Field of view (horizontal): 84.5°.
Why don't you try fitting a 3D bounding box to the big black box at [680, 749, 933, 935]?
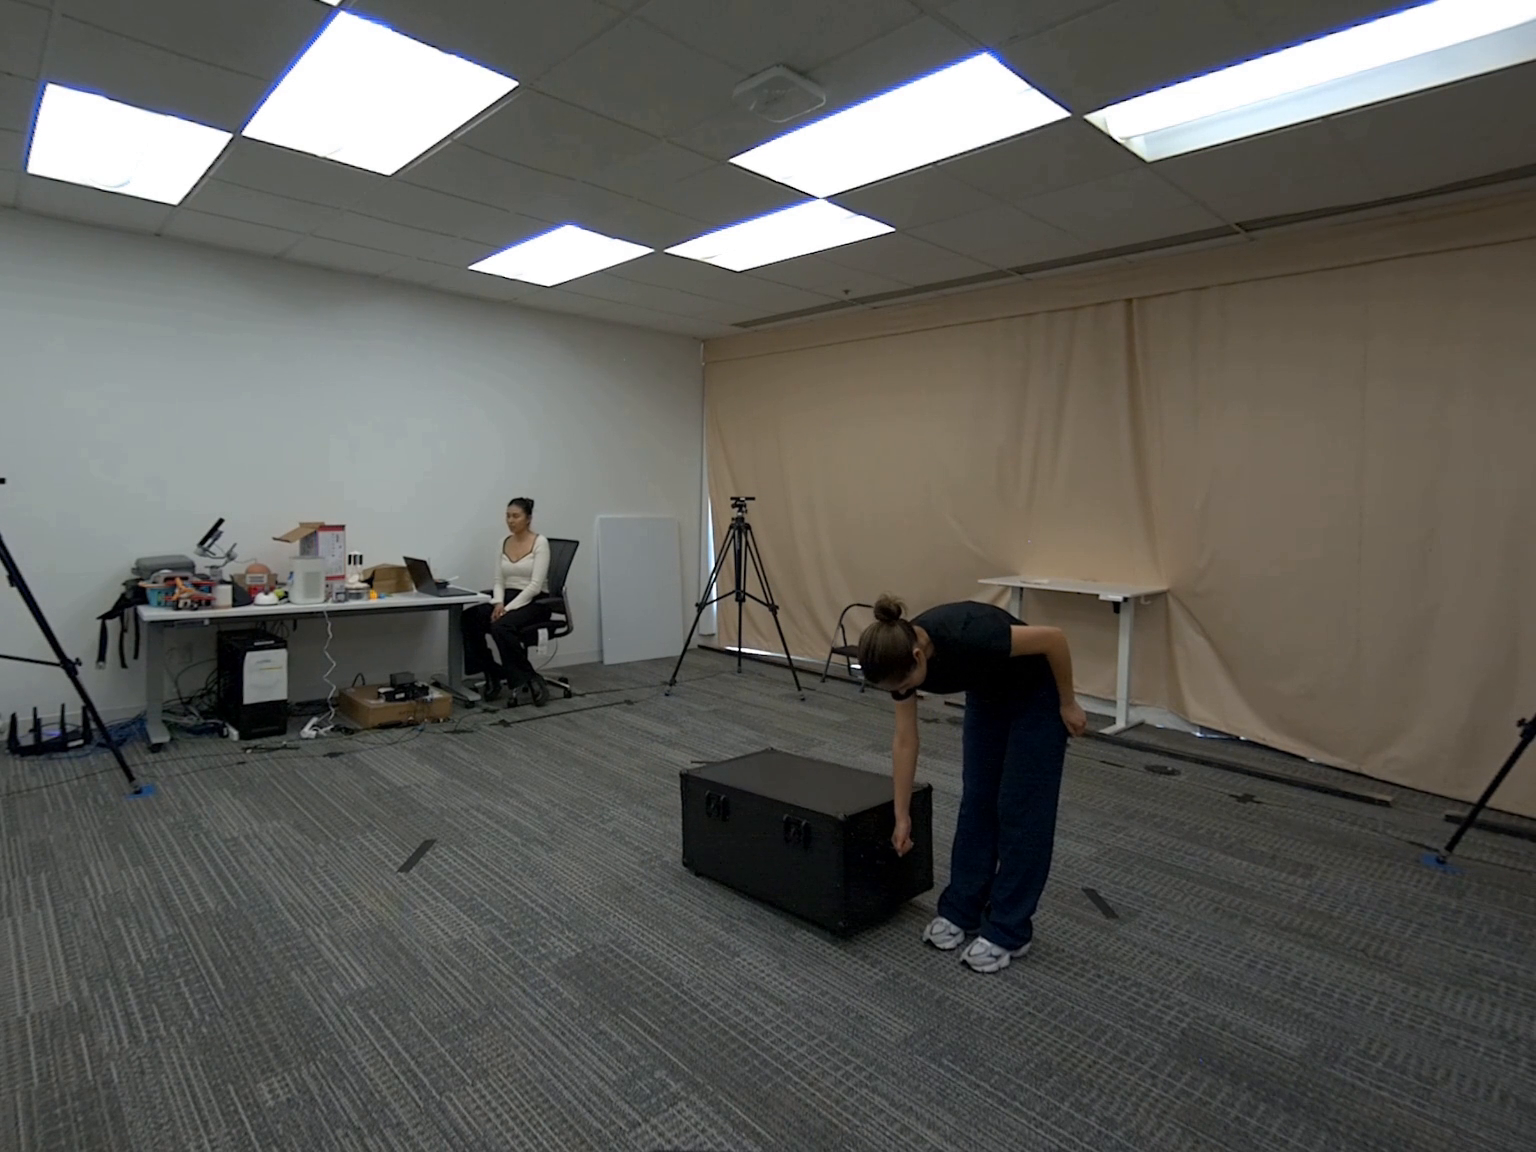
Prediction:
[{"bbox_3d":[0.093,0.896,3.026,0.509,0.396,0.882,-3,4,-44],"label":"big black box"}]
